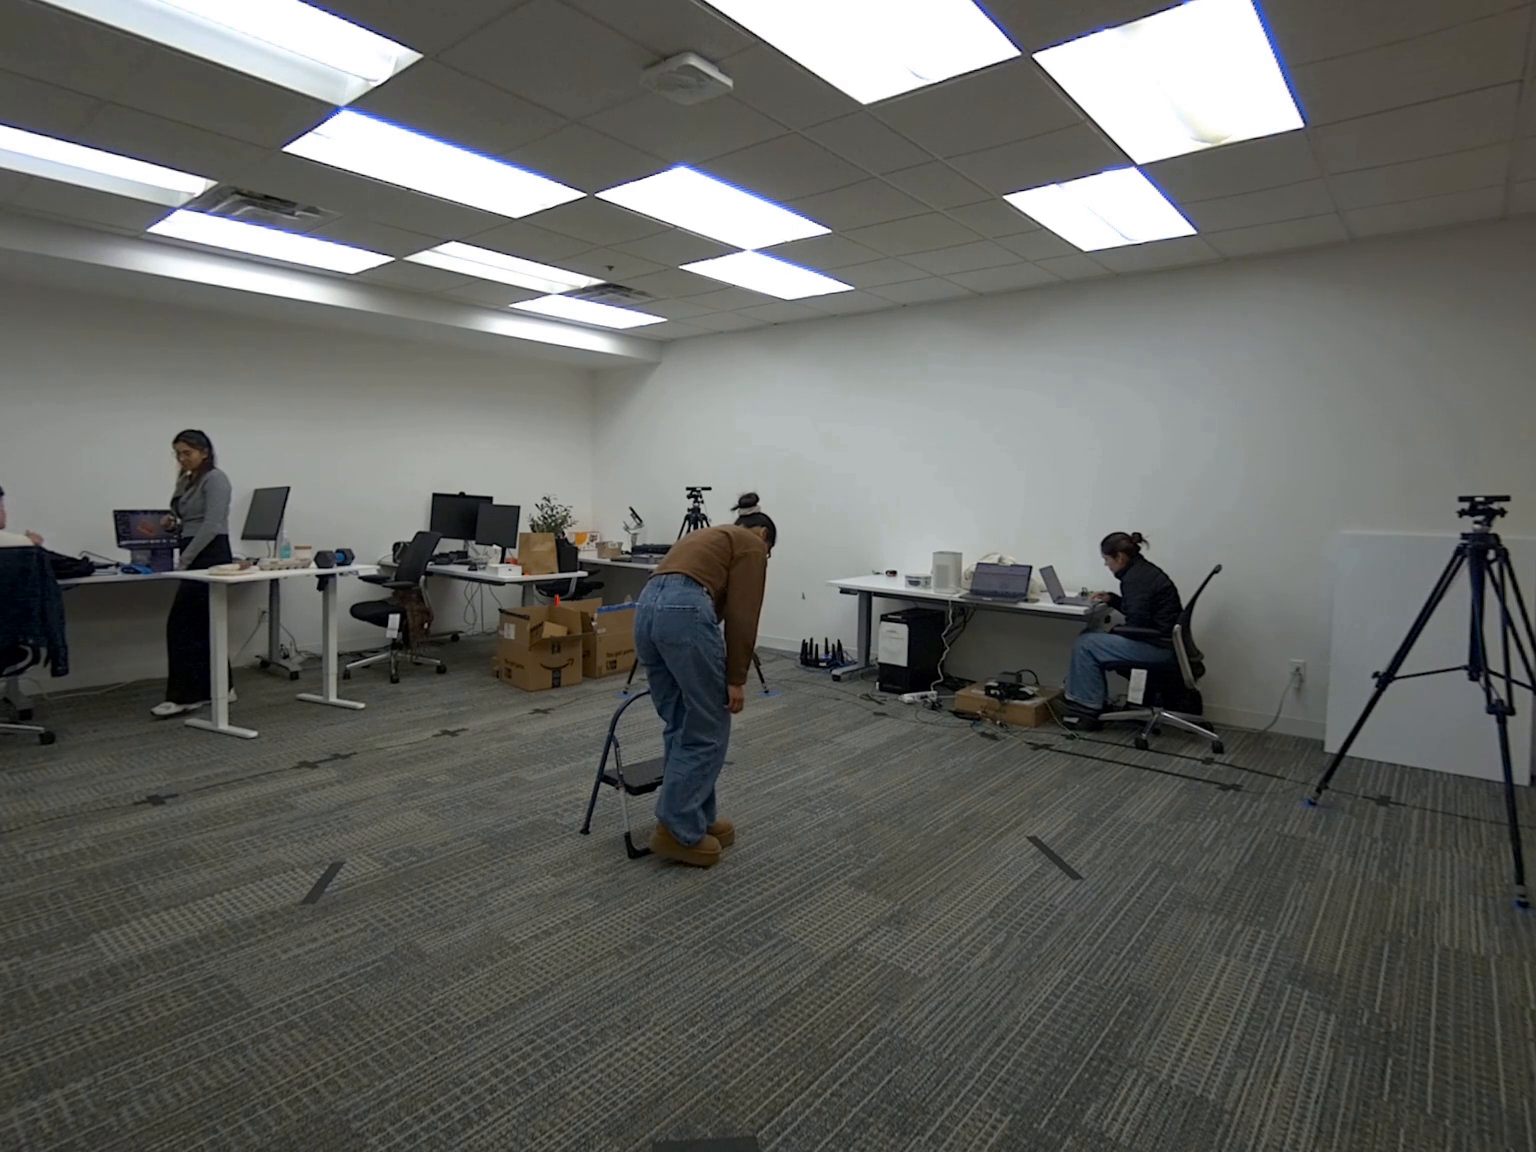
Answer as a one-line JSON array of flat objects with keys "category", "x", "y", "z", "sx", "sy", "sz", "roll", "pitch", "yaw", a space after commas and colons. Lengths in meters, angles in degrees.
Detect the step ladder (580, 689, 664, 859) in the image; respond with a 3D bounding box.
[{"category": "step ladder", "x": -0.497, "y": 0.727, "z": 3.418, "sx": 0.417, "sy": 0.604, "sz": 0.361, "roll": -2, "pitch": 5, "yaw": -44}]
